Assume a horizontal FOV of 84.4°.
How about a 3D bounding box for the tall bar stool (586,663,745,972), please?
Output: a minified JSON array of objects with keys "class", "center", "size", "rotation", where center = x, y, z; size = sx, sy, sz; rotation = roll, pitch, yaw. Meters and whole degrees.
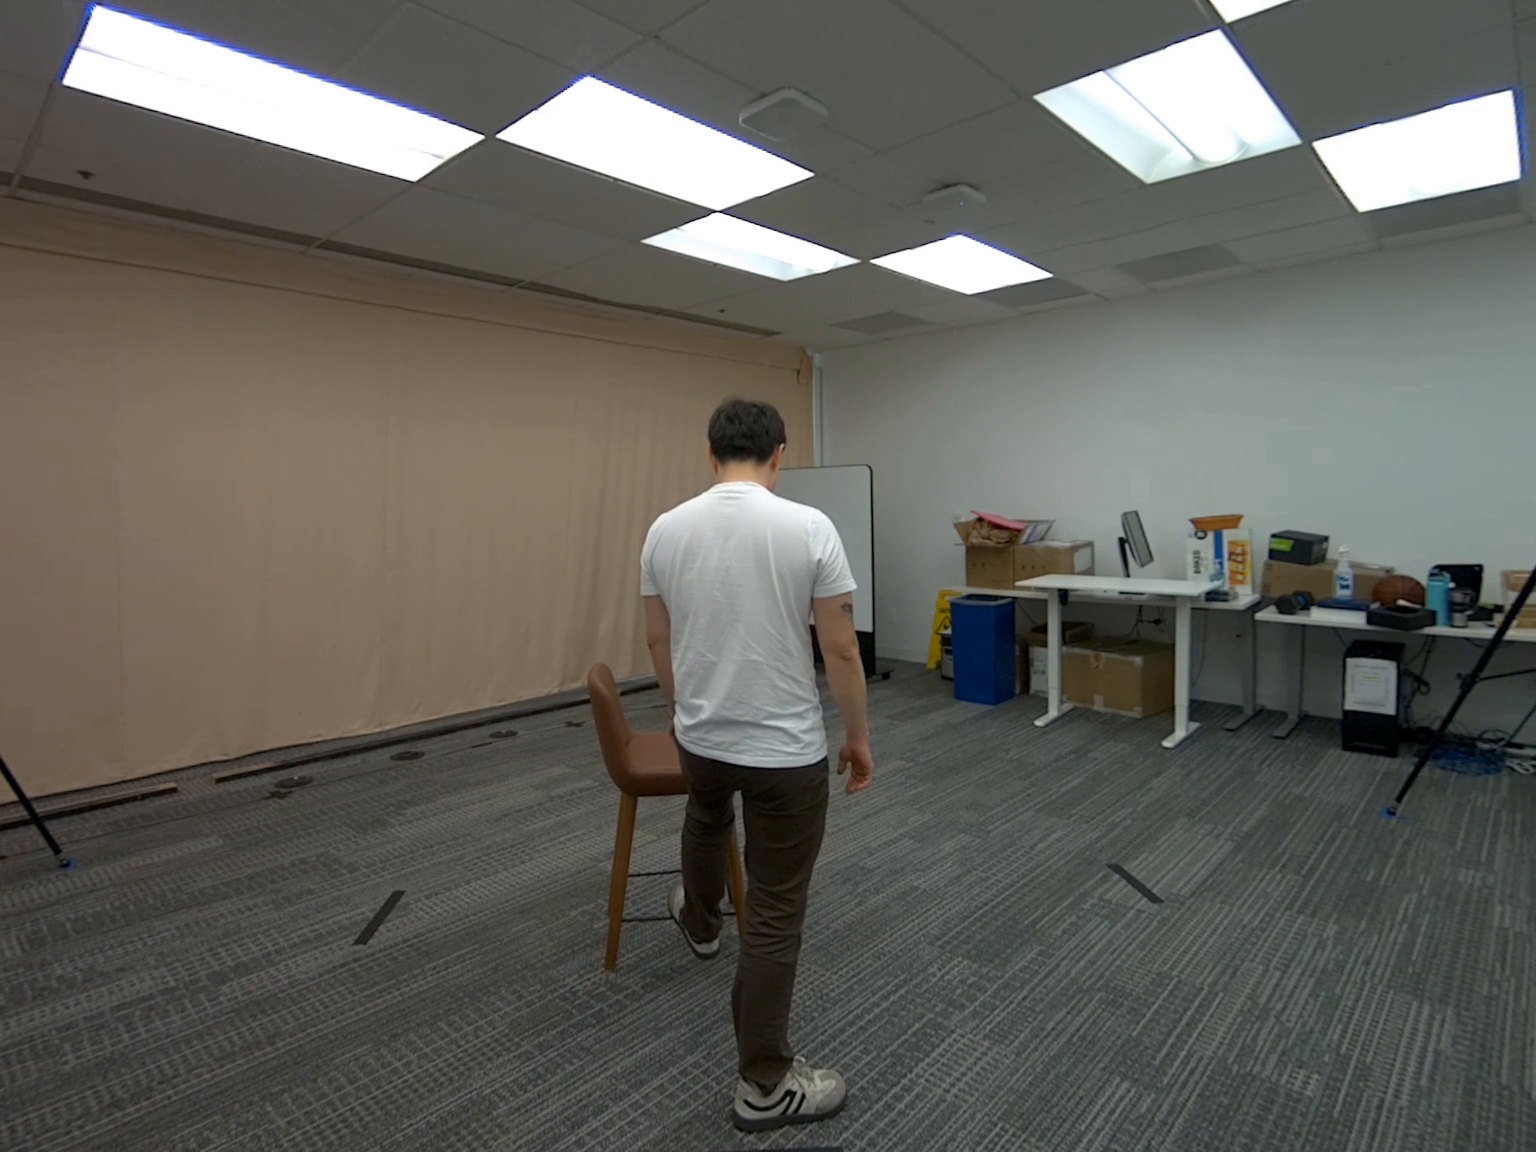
[{"class":"tall bar stool","center":[-0.314,0.734,2.715],"size":[0.464,0.888,0.461],"rotation":[-3,3,-7]}]
